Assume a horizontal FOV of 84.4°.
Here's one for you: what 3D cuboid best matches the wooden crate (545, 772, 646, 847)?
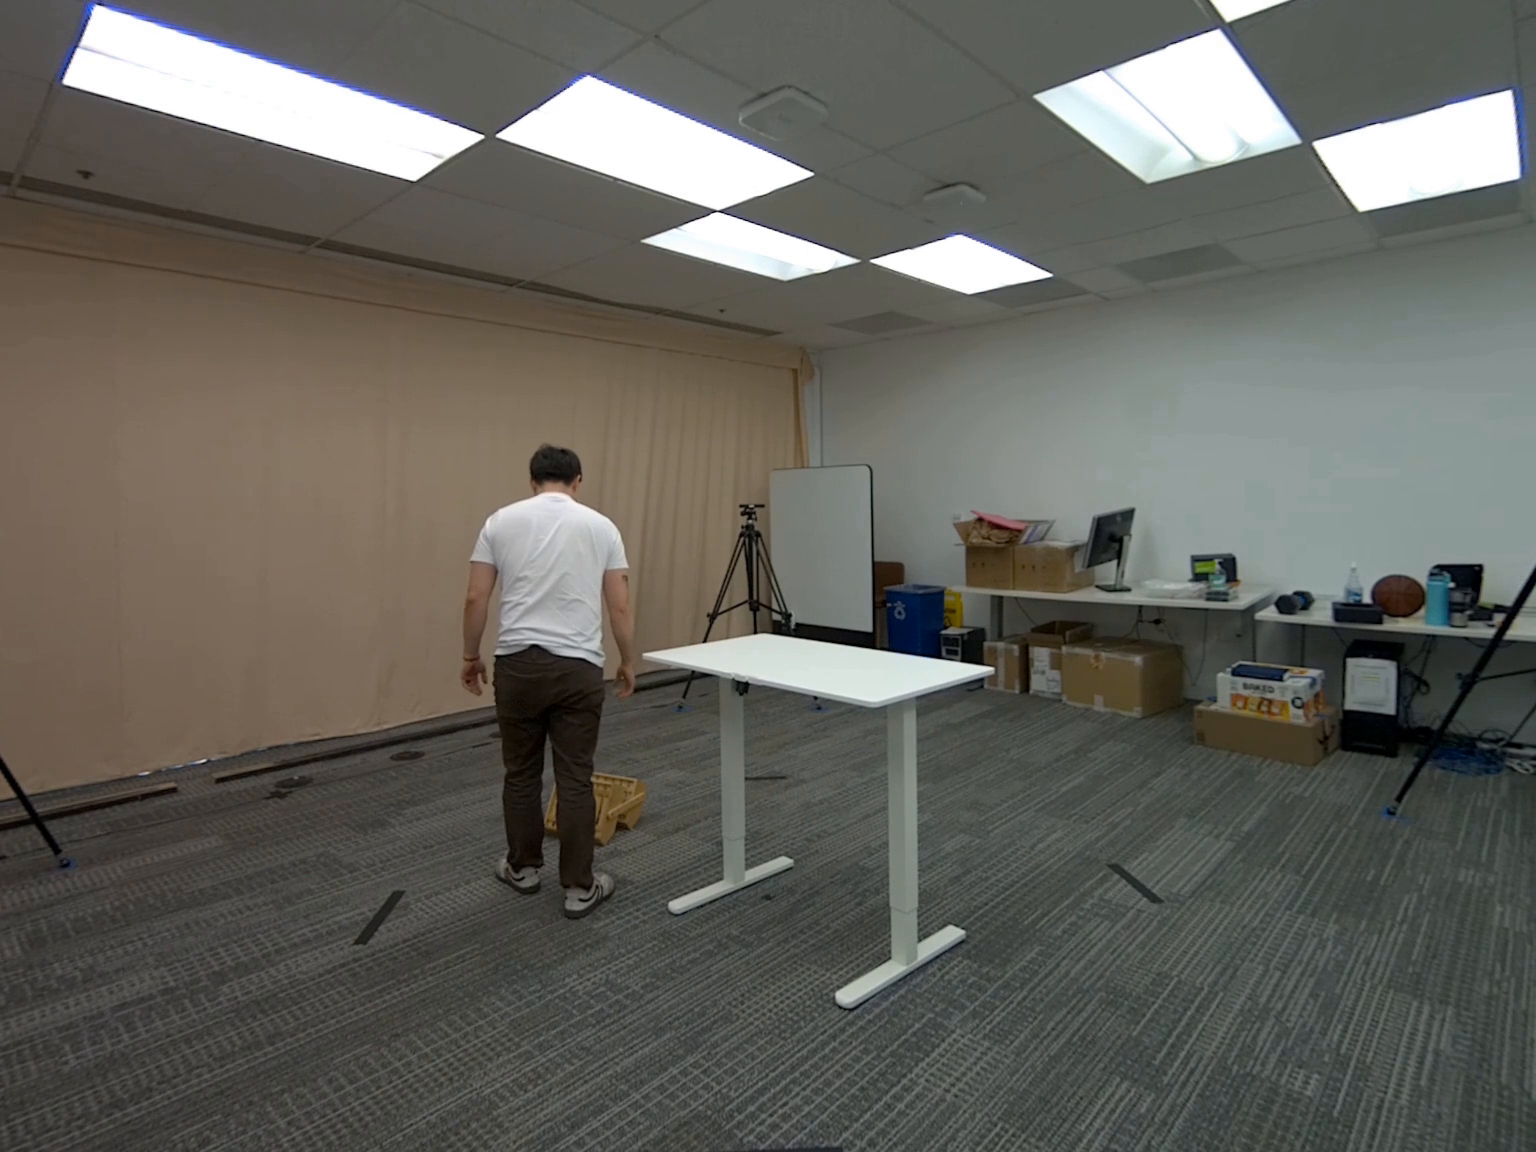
[{"bbox_3d":[-0.746,1.011,3.671,0.333,0.304,0.264,0,-24,27],"label":"wooden crate"}]
